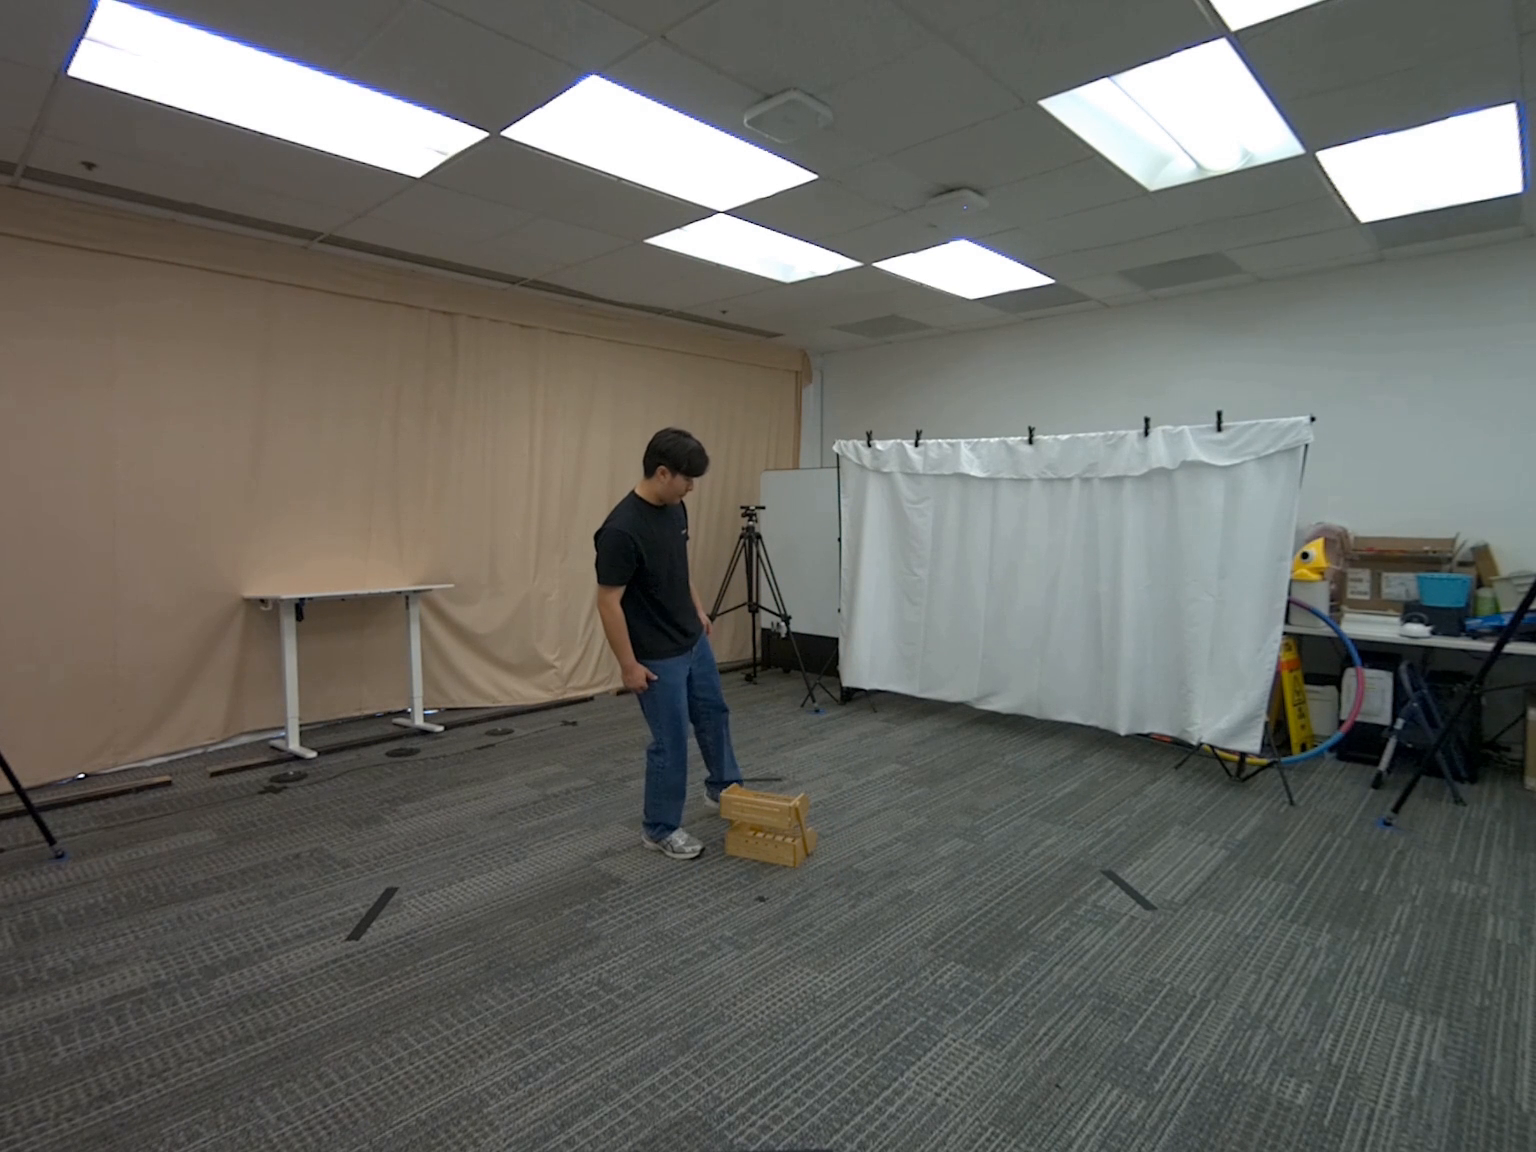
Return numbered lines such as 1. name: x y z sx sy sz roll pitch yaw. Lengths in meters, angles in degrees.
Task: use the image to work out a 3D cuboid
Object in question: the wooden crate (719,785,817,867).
1. wooden crate: 0.005 0.975 3.386 0.333 0.272 0.295 2 5 25
